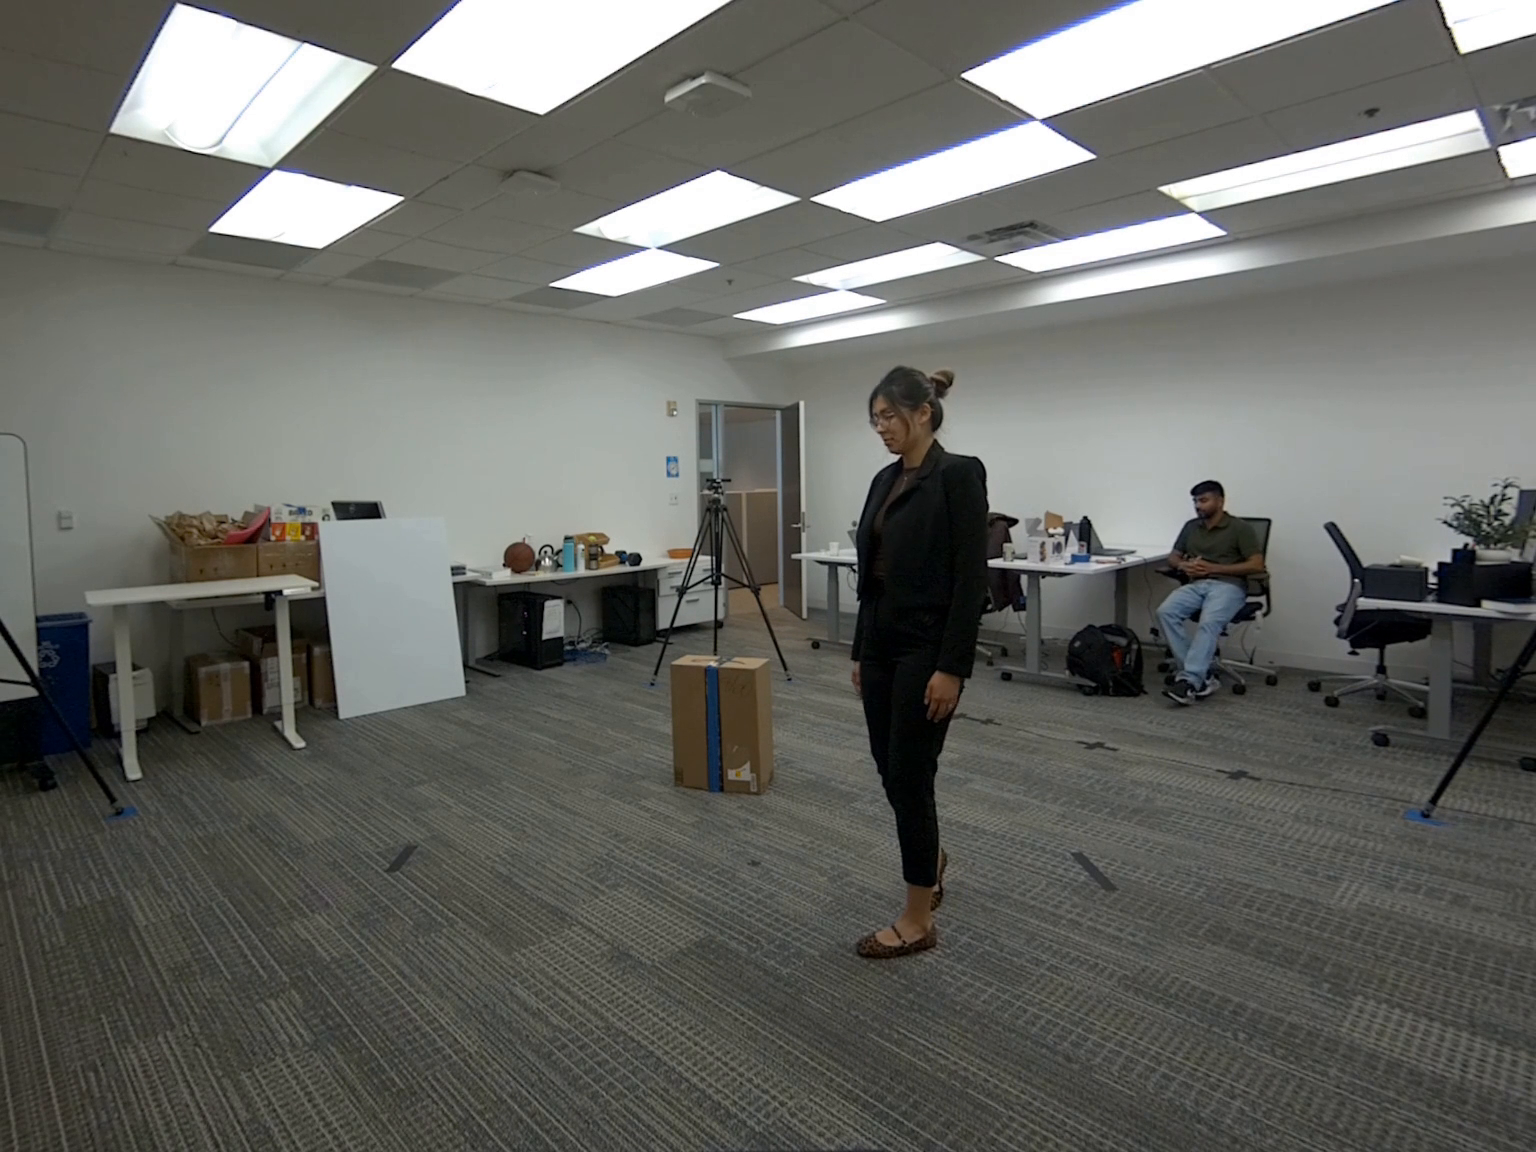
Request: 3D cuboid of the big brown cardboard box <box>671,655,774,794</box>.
[{"bbox_3d":[-0.214,0.677,3.929,0.425,0.588,0.229,-1,3,19],"label":"big brown cardboard box"}]
